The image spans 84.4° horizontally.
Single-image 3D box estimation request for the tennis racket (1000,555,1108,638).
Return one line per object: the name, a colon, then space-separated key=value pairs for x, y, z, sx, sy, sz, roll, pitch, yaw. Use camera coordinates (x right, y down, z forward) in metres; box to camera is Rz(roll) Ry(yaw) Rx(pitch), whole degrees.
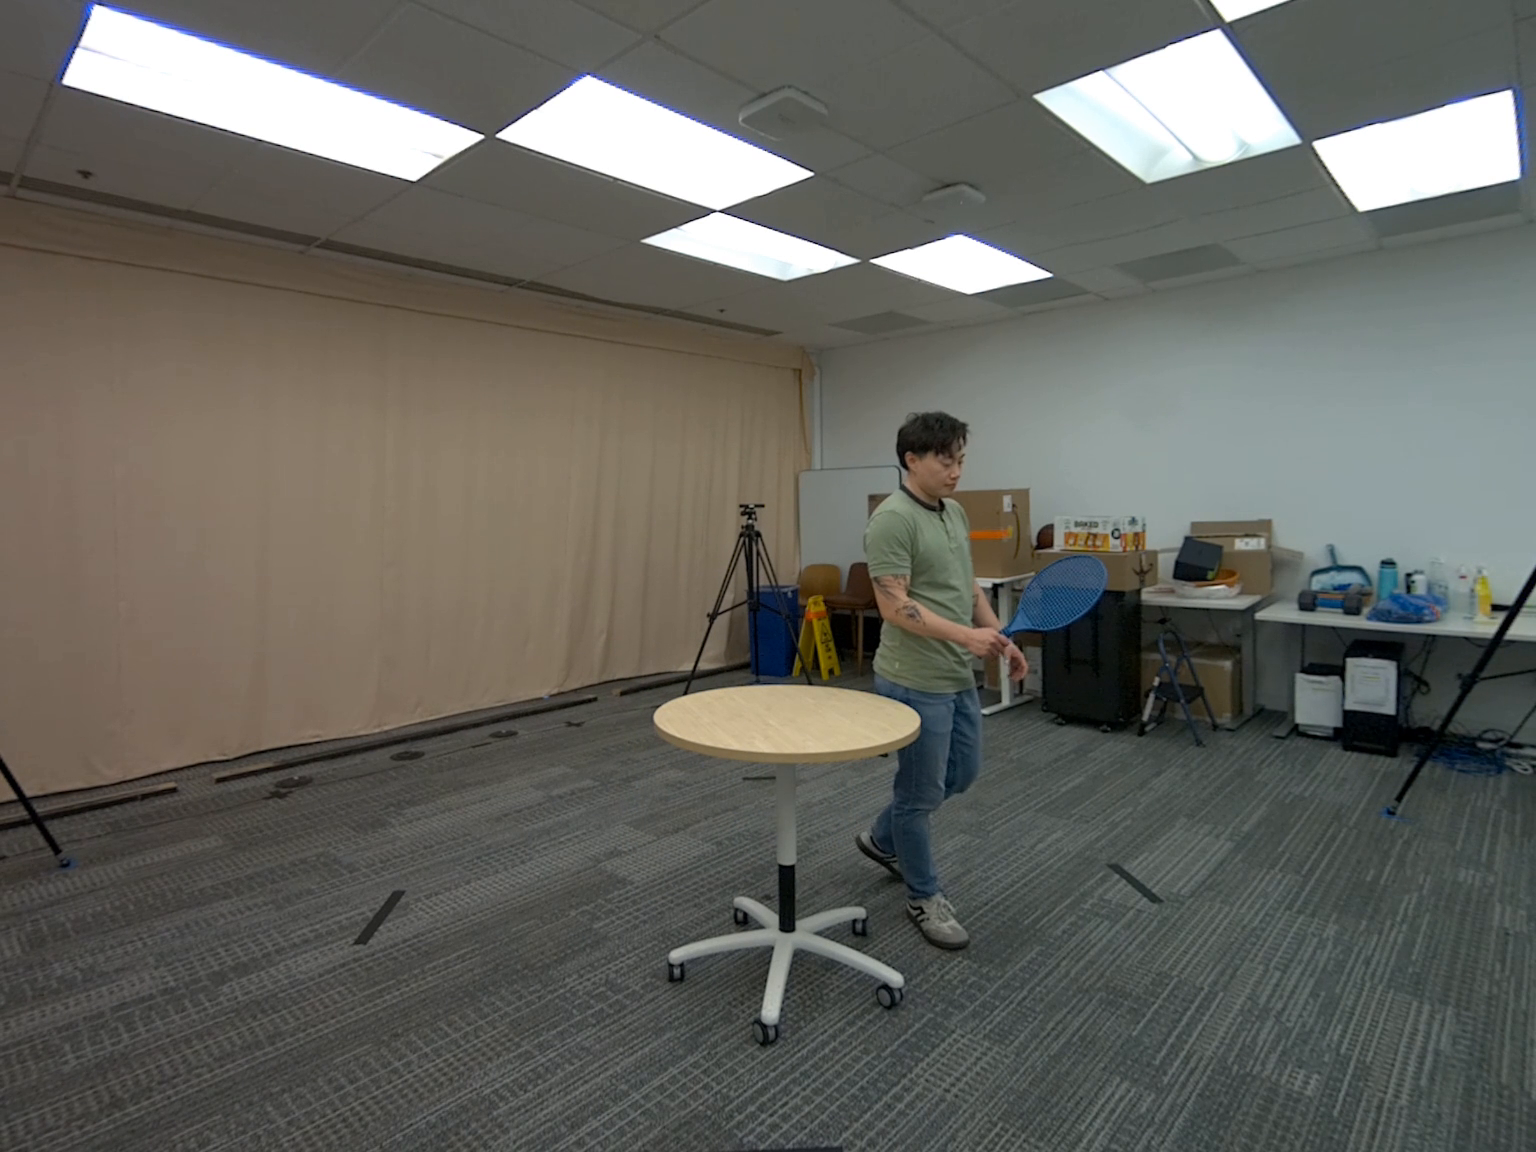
tennis racket: x=0.770 y=0.109 z=2.411 sx=0.031 sy=0.436 sz=0.219 roll=30 pitch=28 yaw=-35
